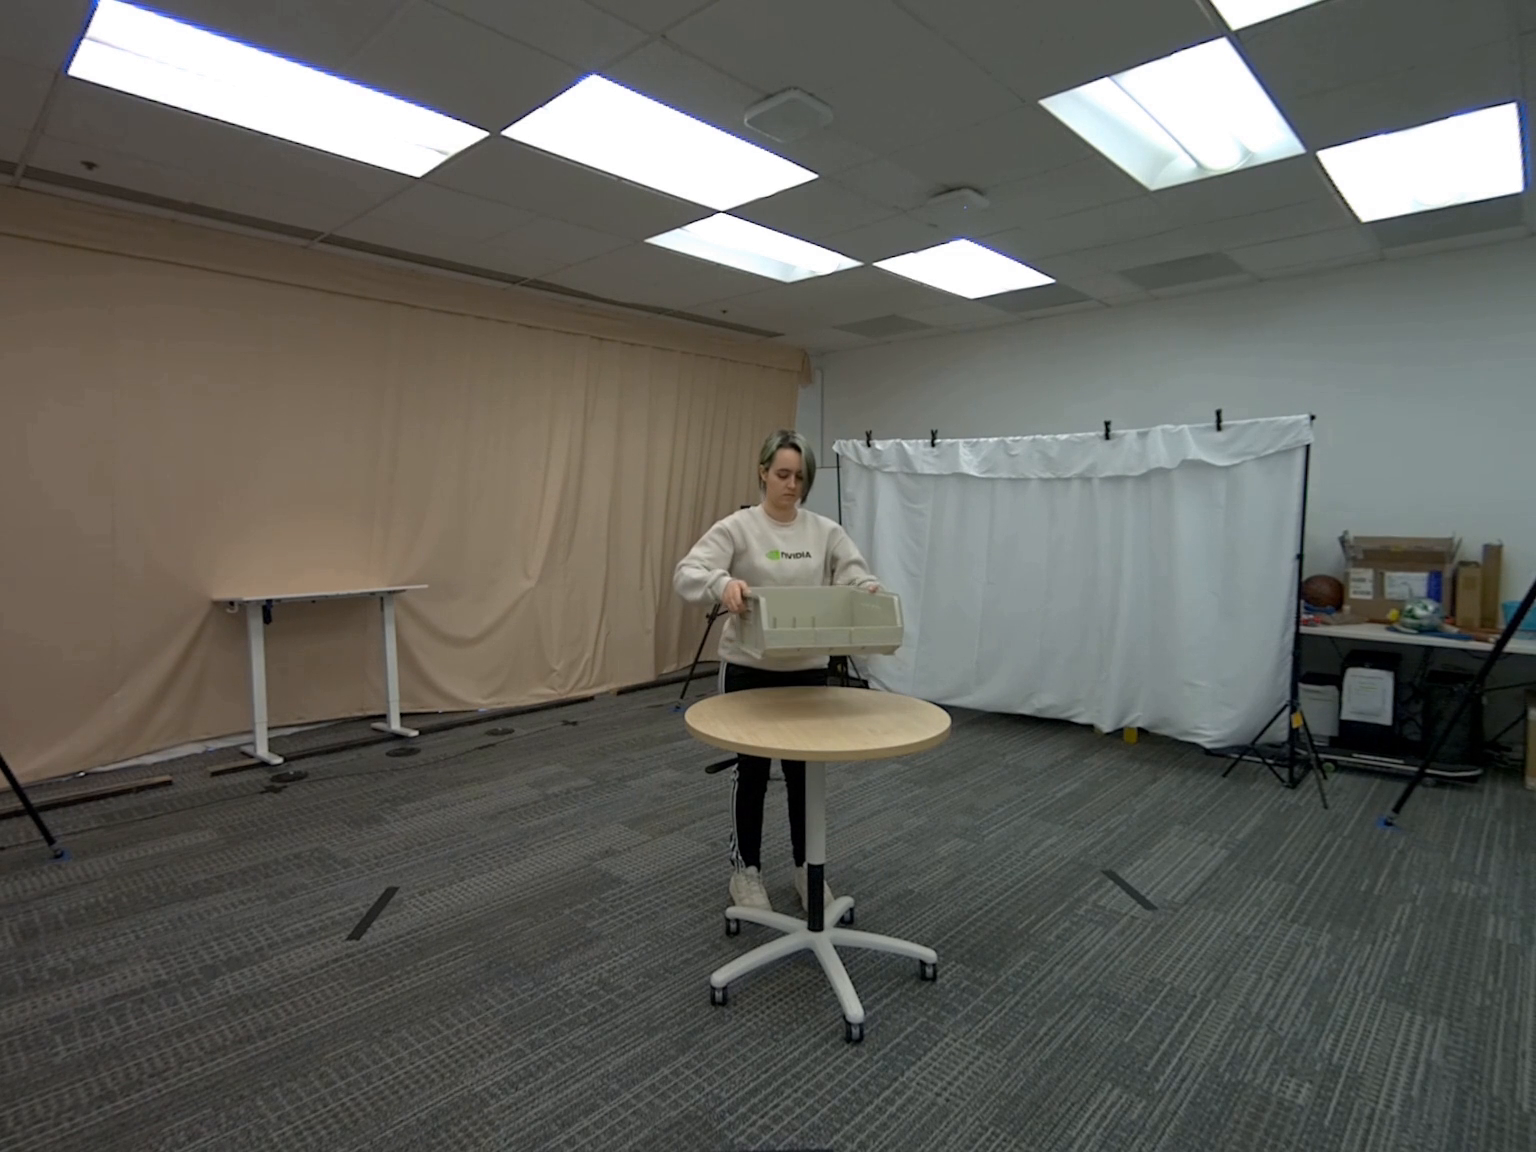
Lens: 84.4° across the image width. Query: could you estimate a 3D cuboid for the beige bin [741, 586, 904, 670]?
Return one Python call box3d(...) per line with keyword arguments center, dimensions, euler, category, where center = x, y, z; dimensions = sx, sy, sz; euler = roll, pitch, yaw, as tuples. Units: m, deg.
box3d(center=(0.134, 0.143, 2.509), dimensions=(0.416, 0.189, 0.383), euler=(1, 2, -14), category="beige bin")
